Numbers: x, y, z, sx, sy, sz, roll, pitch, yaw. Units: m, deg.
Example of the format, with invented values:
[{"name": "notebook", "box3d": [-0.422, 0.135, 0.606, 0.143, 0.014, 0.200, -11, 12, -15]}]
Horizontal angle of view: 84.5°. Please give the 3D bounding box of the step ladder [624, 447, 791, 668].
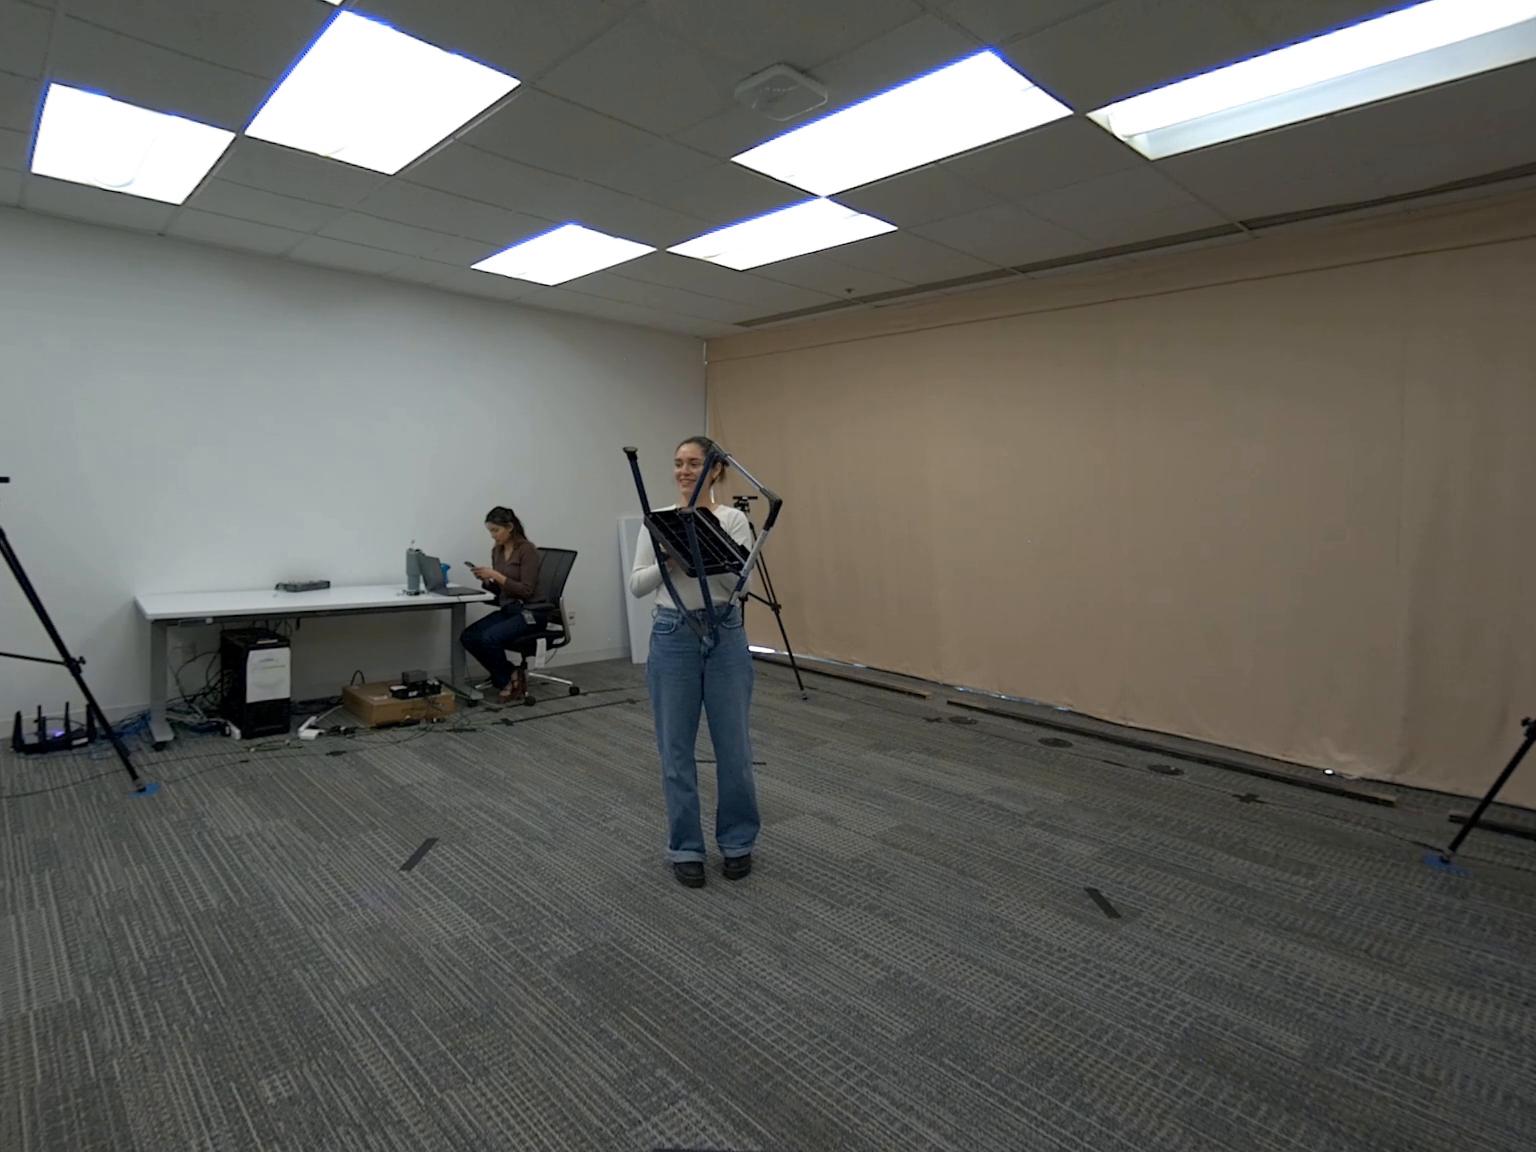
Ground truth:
[{"name": "step ladder", "box3d": [-0.263, -0.061, 2.719, 0.343, 0.597, 0.445, -10, 35, -31]}]
